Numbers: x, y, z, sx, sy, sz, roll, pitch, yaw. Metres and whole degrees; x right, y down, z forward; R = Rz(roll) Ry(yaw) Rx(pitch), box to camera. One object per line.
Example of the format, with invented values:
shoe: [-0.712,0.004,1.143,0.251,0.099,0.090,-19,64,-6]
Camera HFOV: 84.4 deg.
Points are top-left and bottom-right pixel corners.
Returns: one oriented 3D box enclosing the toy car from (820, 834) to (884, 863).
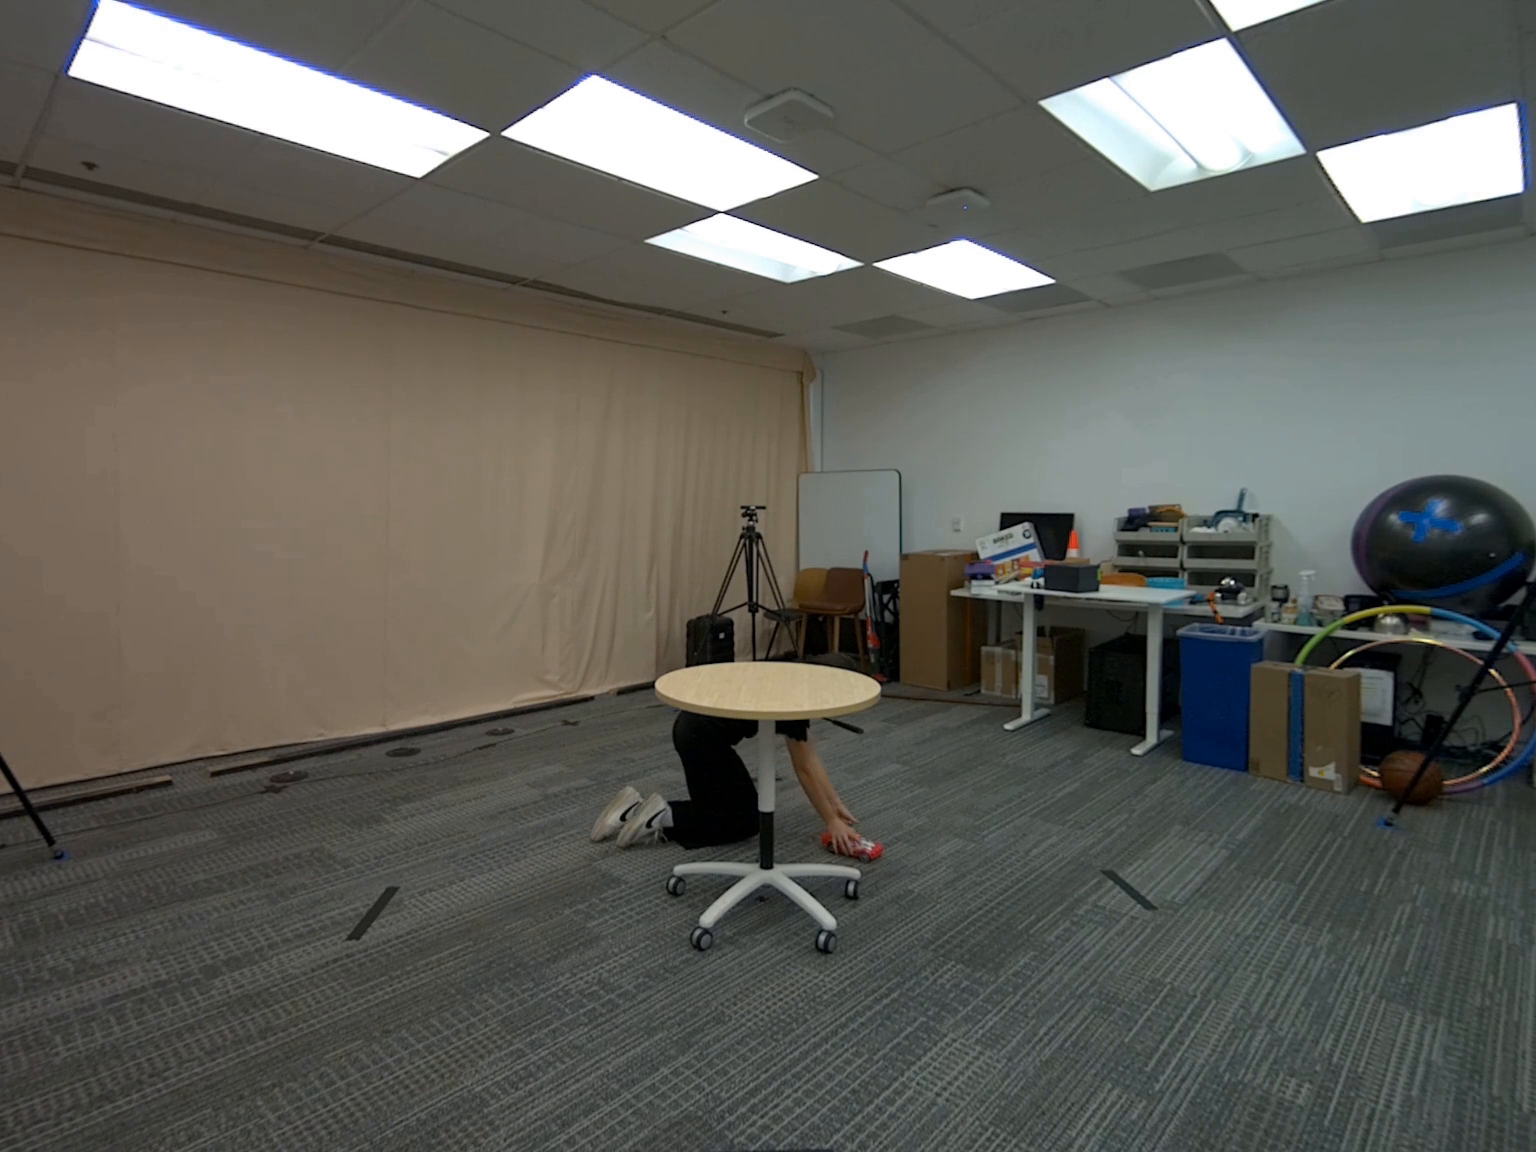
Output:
toy car: [0.339,1.082,3.380,0.263,0.083,0.126,15,14,37]
